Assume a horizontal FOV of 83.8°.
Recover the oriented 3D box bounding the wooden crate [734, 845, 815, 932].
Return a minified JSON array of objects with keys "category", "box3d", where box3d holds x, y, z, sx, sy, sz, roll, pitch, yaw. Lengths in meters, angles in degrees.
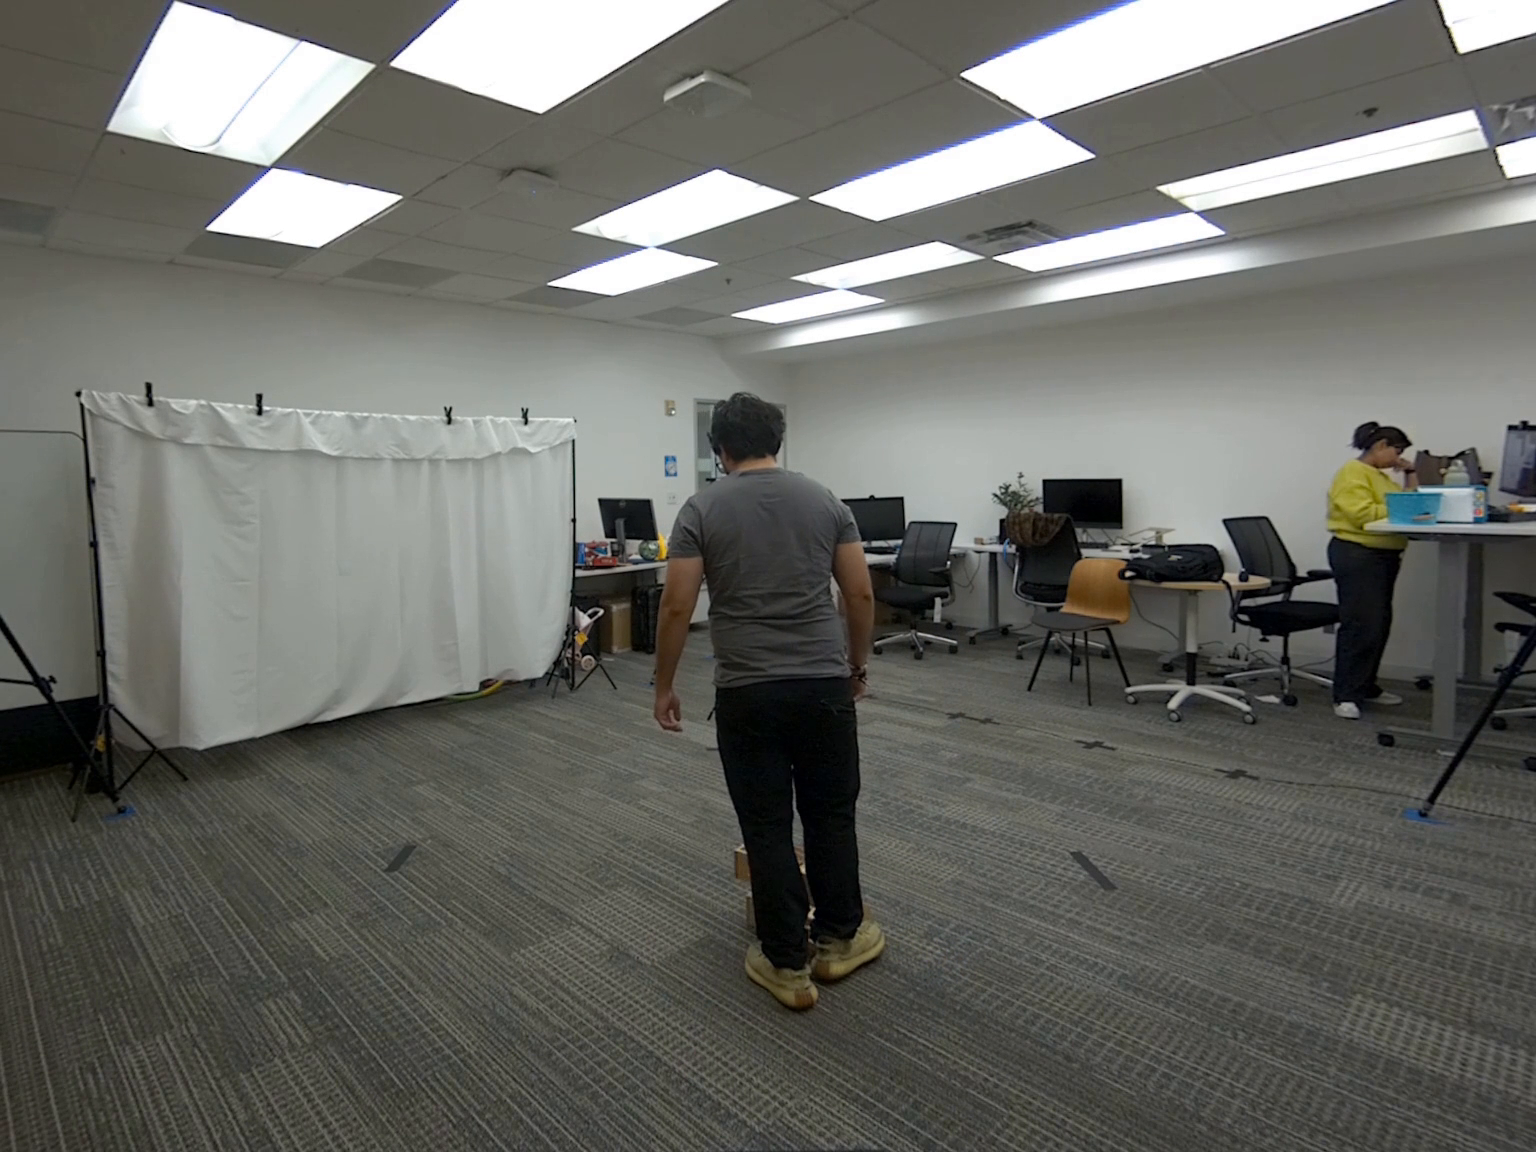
[{"category":"wooden crate","box3d":[0.122,0.961,2.653,0.334,0.272,0.295,3,8,38]}]
